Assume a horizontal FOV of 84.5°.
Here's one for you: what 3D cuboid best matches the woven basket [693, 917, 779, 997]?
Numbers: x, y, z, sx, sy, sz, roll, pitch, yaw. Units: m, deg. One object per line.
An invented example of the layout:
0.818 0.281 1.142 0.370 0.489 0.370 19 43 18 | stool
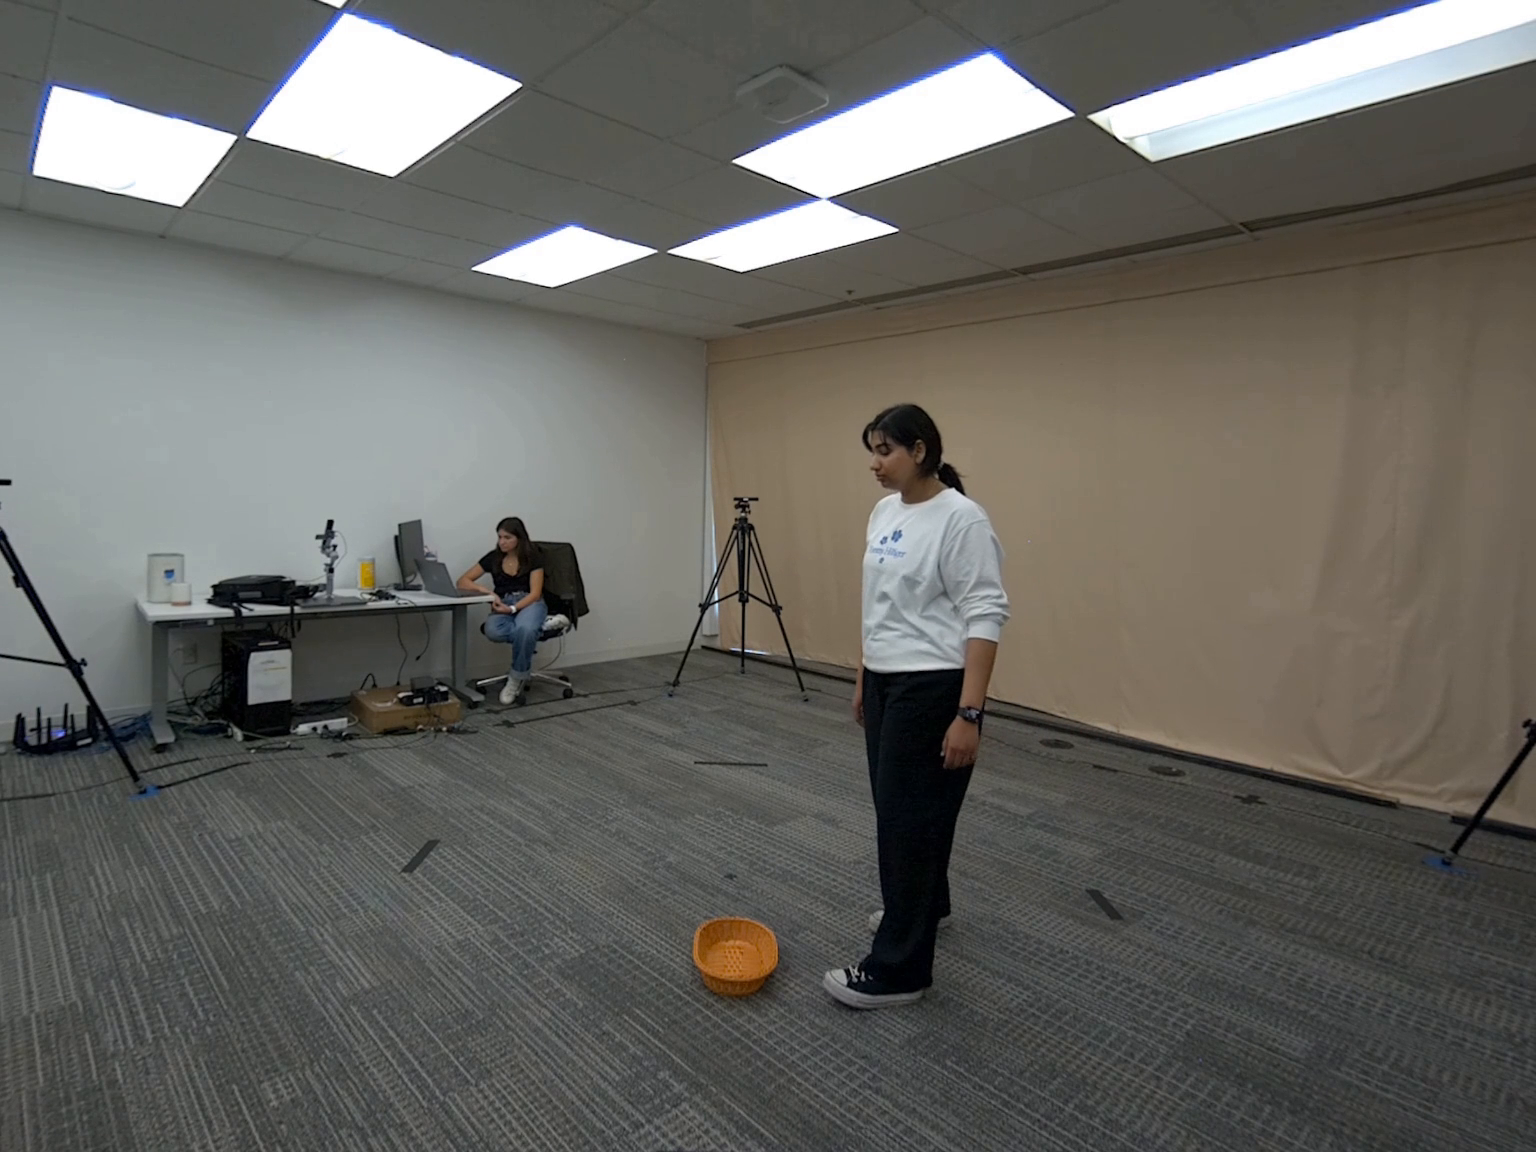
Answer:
-0.107 1.128 2.493 0.253 0.073 0.351 3 5 0 | woven basket
